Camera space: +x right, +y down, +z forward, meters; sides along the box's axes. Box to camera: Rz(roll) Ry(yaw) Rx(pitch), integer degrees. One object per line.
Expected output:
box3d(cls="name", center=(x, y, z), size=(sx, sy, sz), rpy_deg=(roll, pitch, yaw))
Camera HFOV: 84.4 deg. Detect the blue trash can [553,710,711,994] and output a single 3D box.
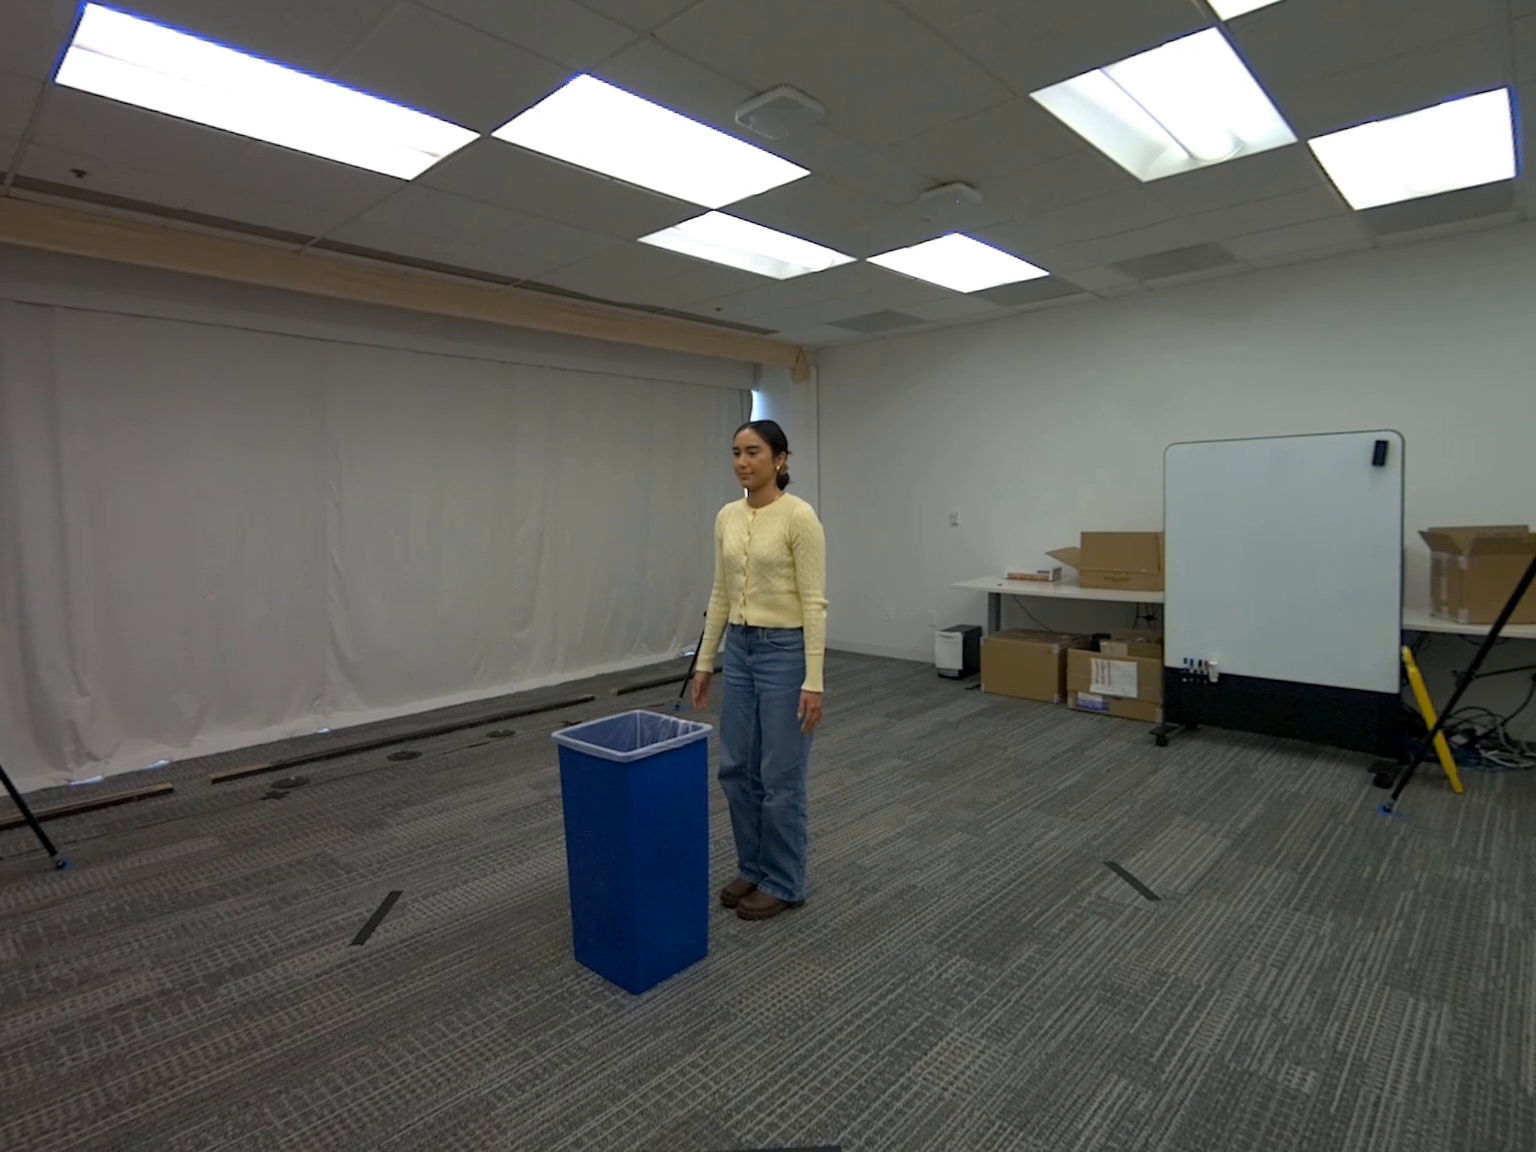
box3d(cls="blue trash can", center=(-0.403, 0.824, 2.573), size=(0.390, 0.712, 0.363), rpy_deg=(1, 4, 42))
